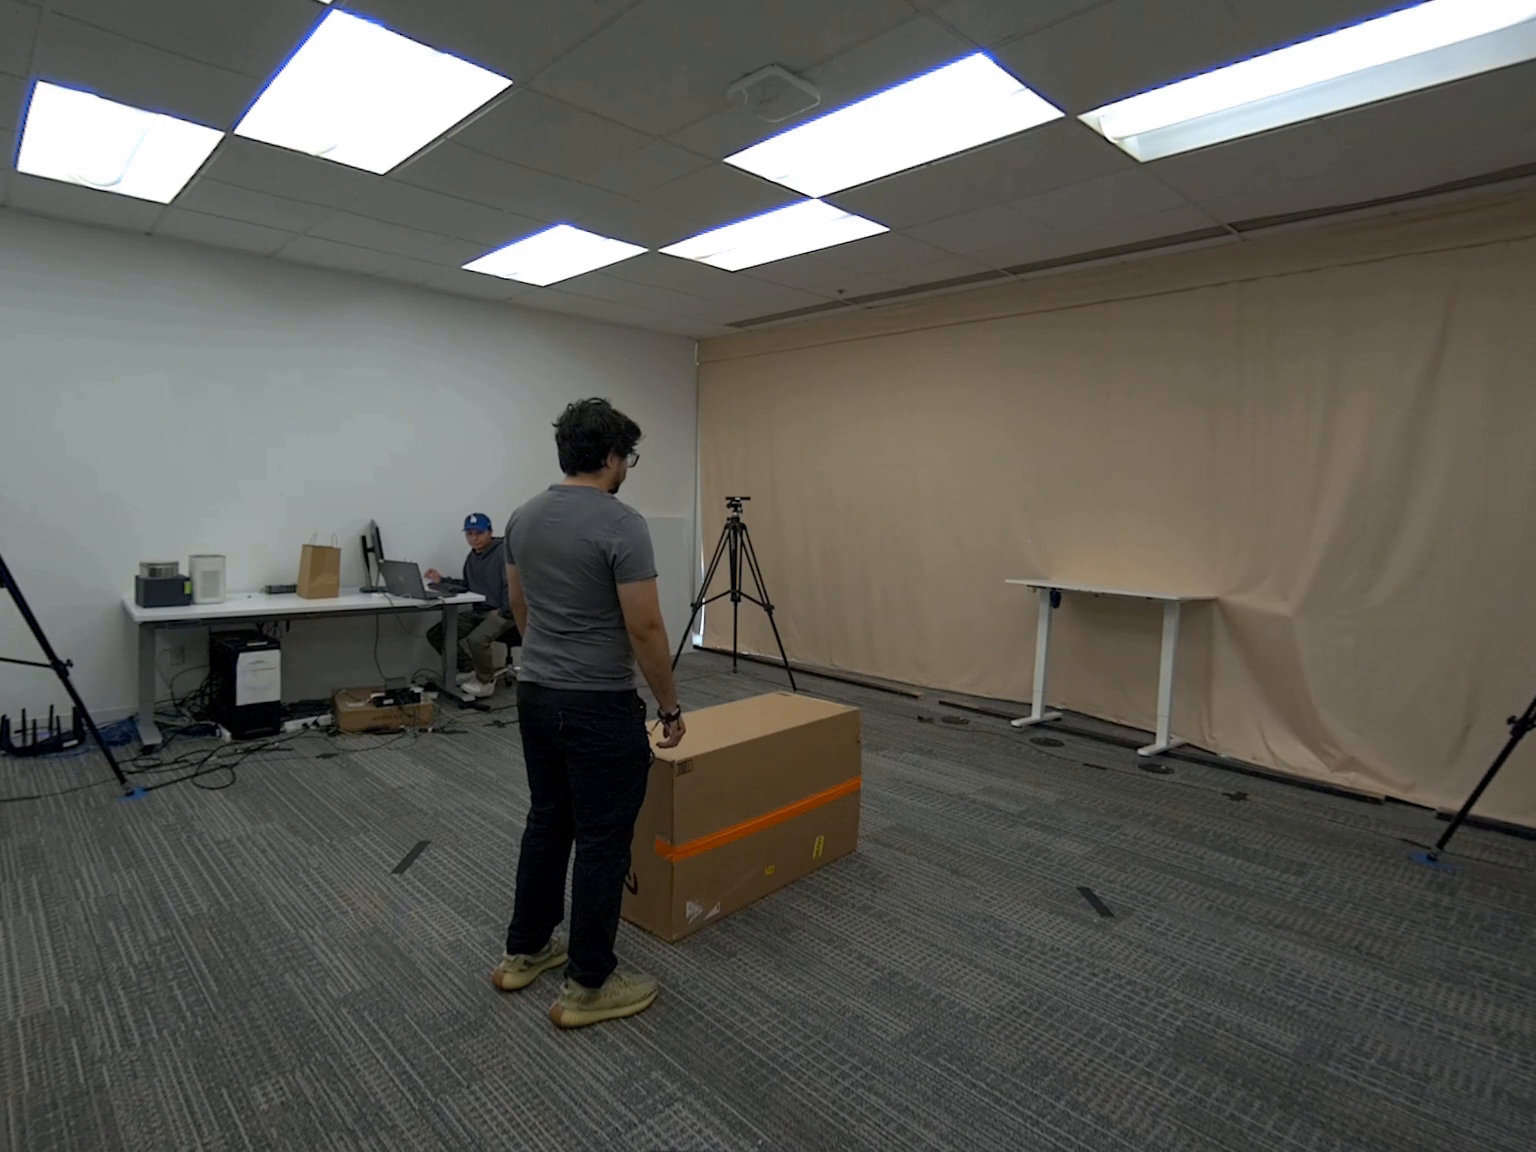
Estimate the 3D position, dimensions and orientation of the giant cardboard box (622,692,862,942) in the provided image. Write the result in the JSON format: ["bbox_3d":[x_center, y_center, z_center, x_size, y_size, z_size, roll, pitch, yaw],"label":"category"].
[{"bbox_3d":[-0.126,0.815,3.109,0.437,0.576,1.003,5,6,41],"label":"giant cardboard box"}]
